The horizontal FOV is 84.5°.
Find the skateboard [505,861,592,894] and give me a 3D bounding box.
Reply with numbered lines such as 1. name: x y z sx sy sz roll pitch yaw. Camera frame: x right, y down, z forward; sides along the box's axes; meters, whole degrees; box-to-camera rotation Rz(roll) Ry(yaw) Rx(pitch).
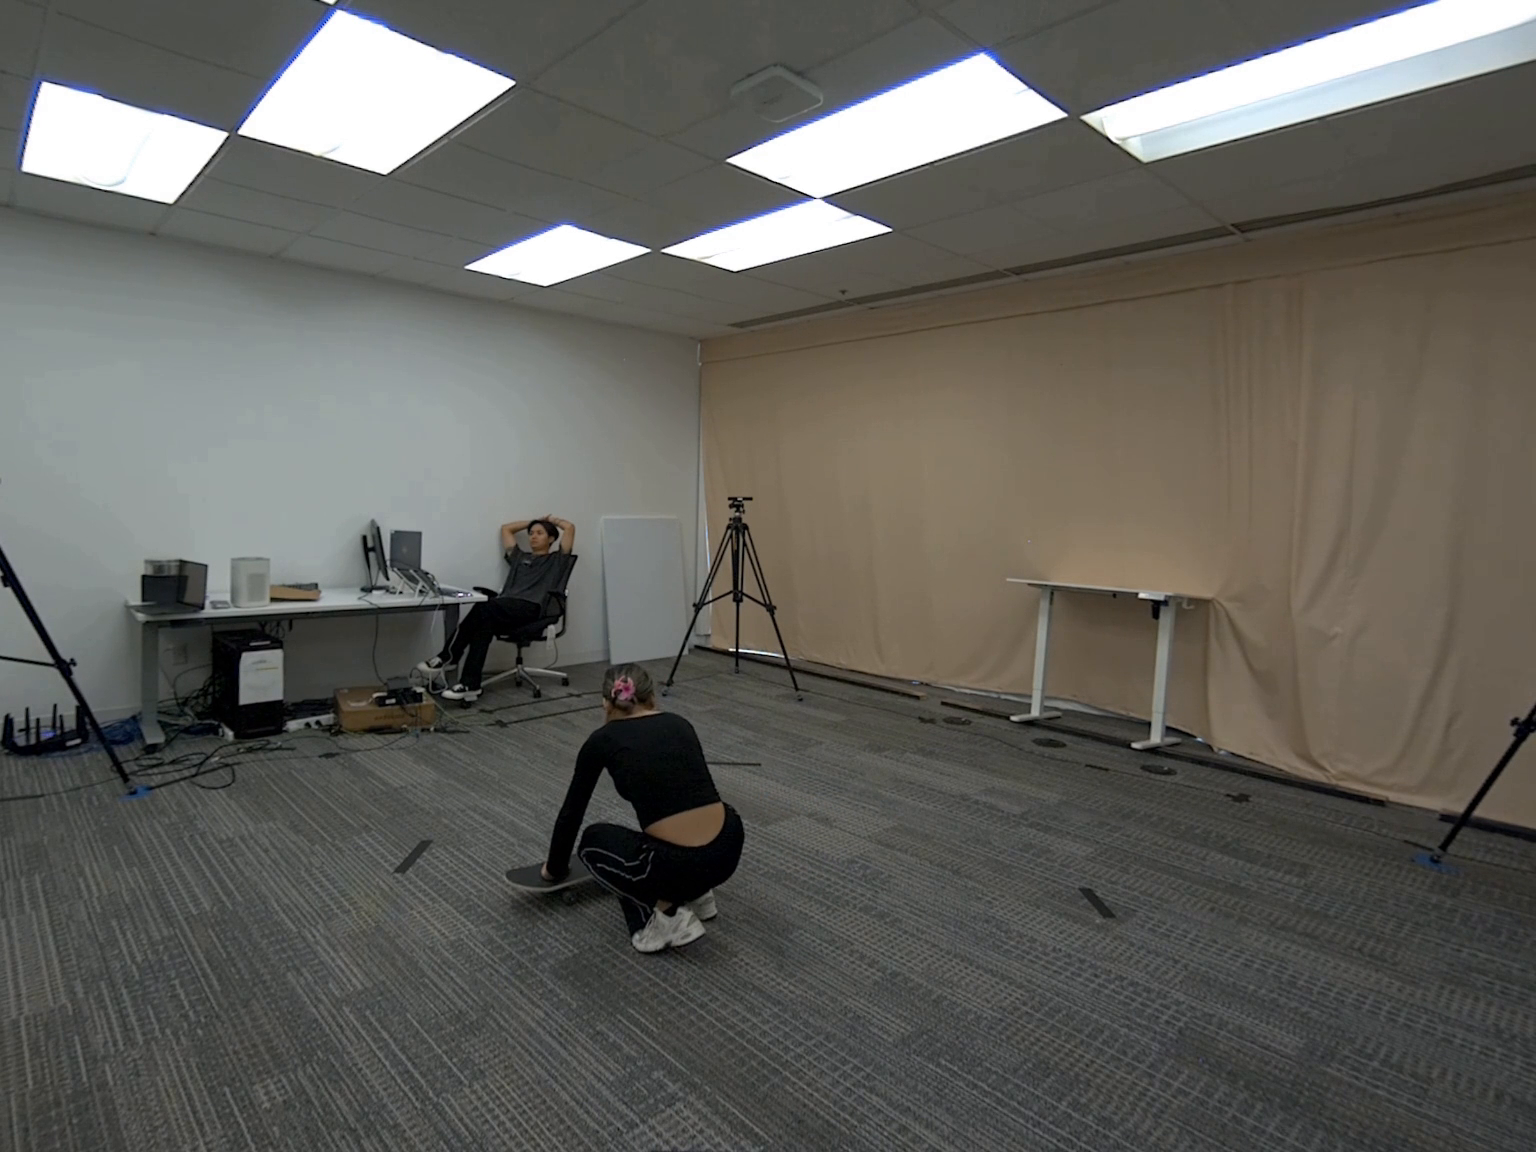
1. skateboard: -0.579 1.053 3.045 0.768 0.110 0.198 -3 5 -37
